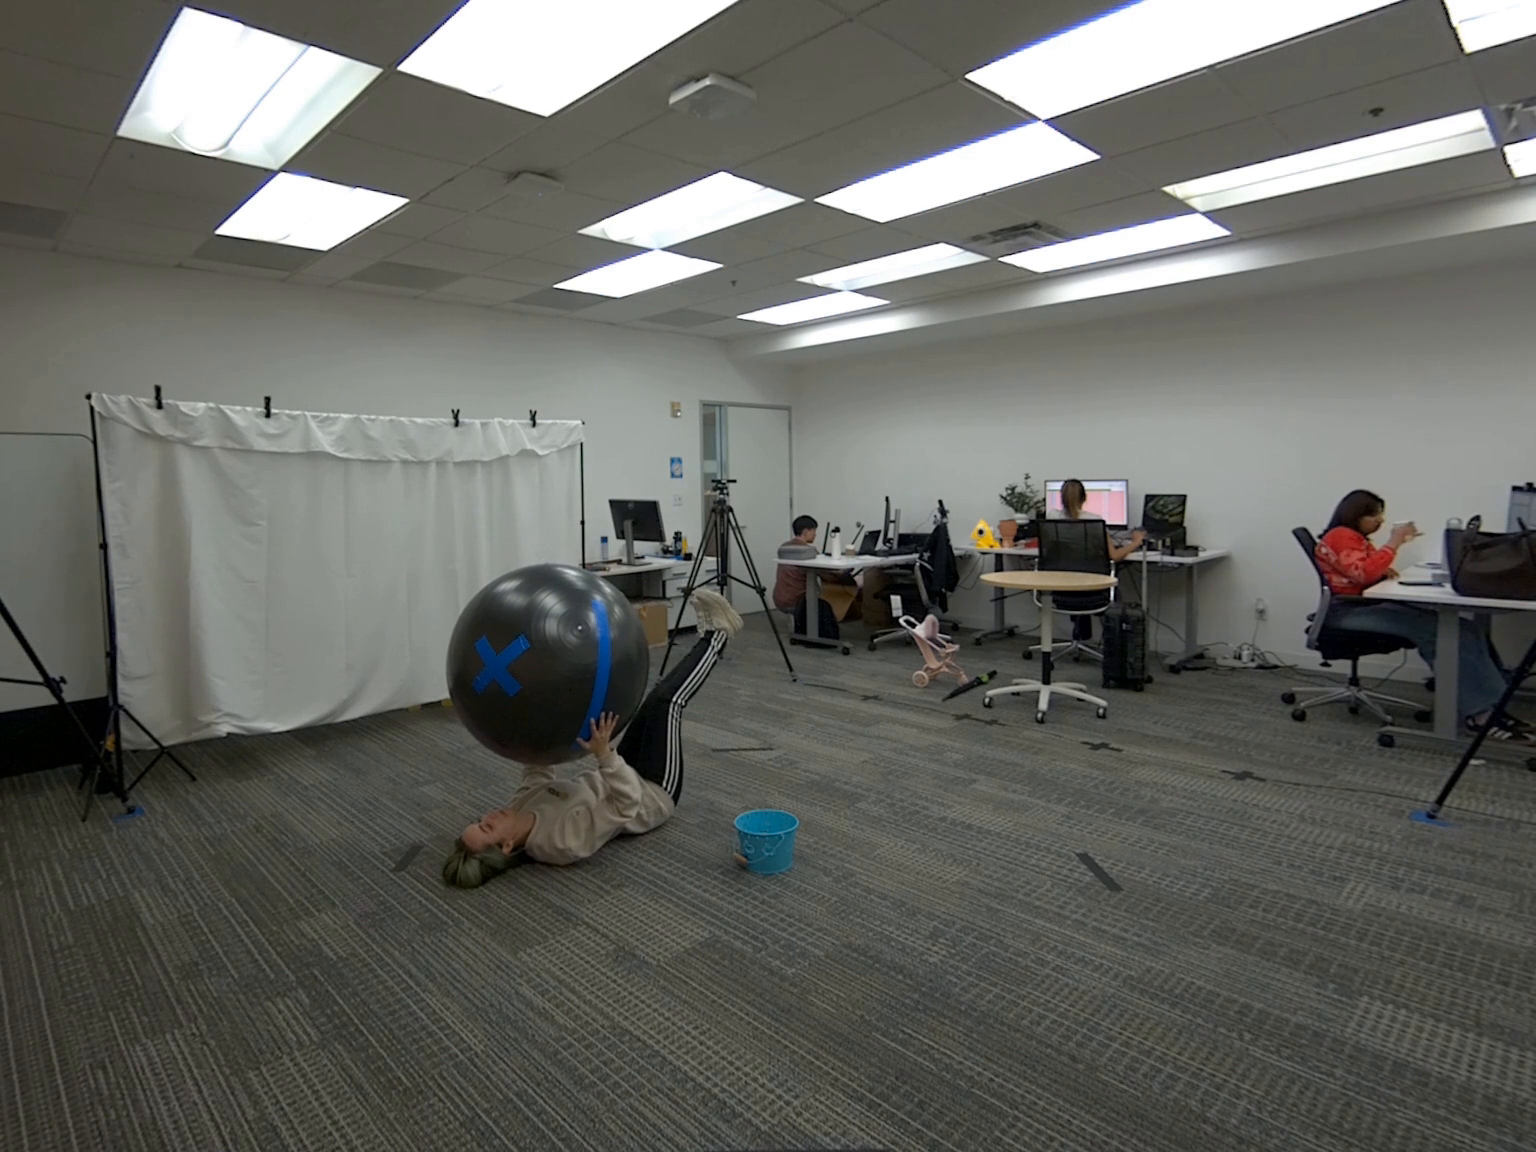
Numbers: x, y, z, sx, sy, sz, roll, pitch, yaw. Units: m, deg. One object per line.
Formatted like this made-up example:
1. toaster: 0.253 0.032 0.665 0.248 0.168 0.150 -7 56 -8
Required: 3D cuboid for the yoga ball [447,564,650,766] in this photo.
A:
1. yoga ball: -0.838 0.334 3.260 0.757 0.755 0.762 -1 5 -2
